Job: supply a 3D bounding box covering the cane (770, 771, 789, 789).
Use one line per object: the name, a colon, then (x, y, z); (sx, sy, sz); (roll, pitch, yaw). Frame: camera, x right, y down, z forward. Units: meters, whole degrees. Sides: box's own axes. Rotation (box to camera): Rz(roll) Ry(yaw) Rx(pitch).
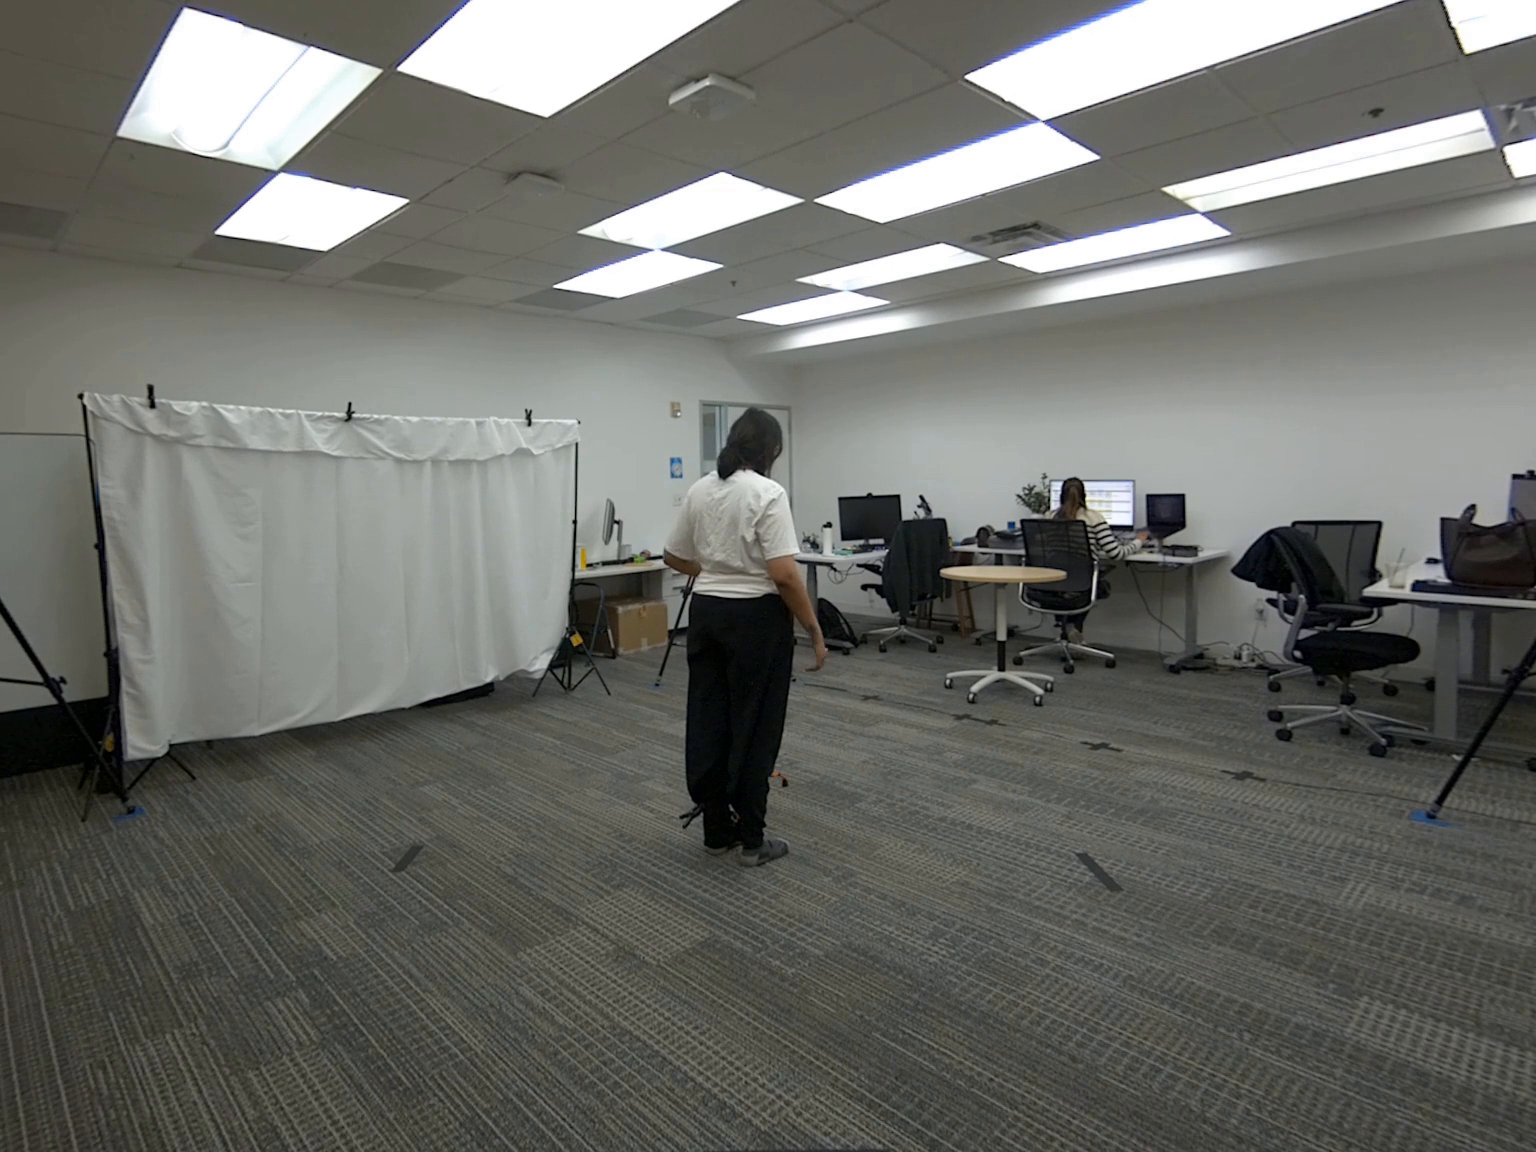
cane: (-0.052, 0.452, 3.522); (0.155, 0.904, 0.202); (-1, 5, 30)
